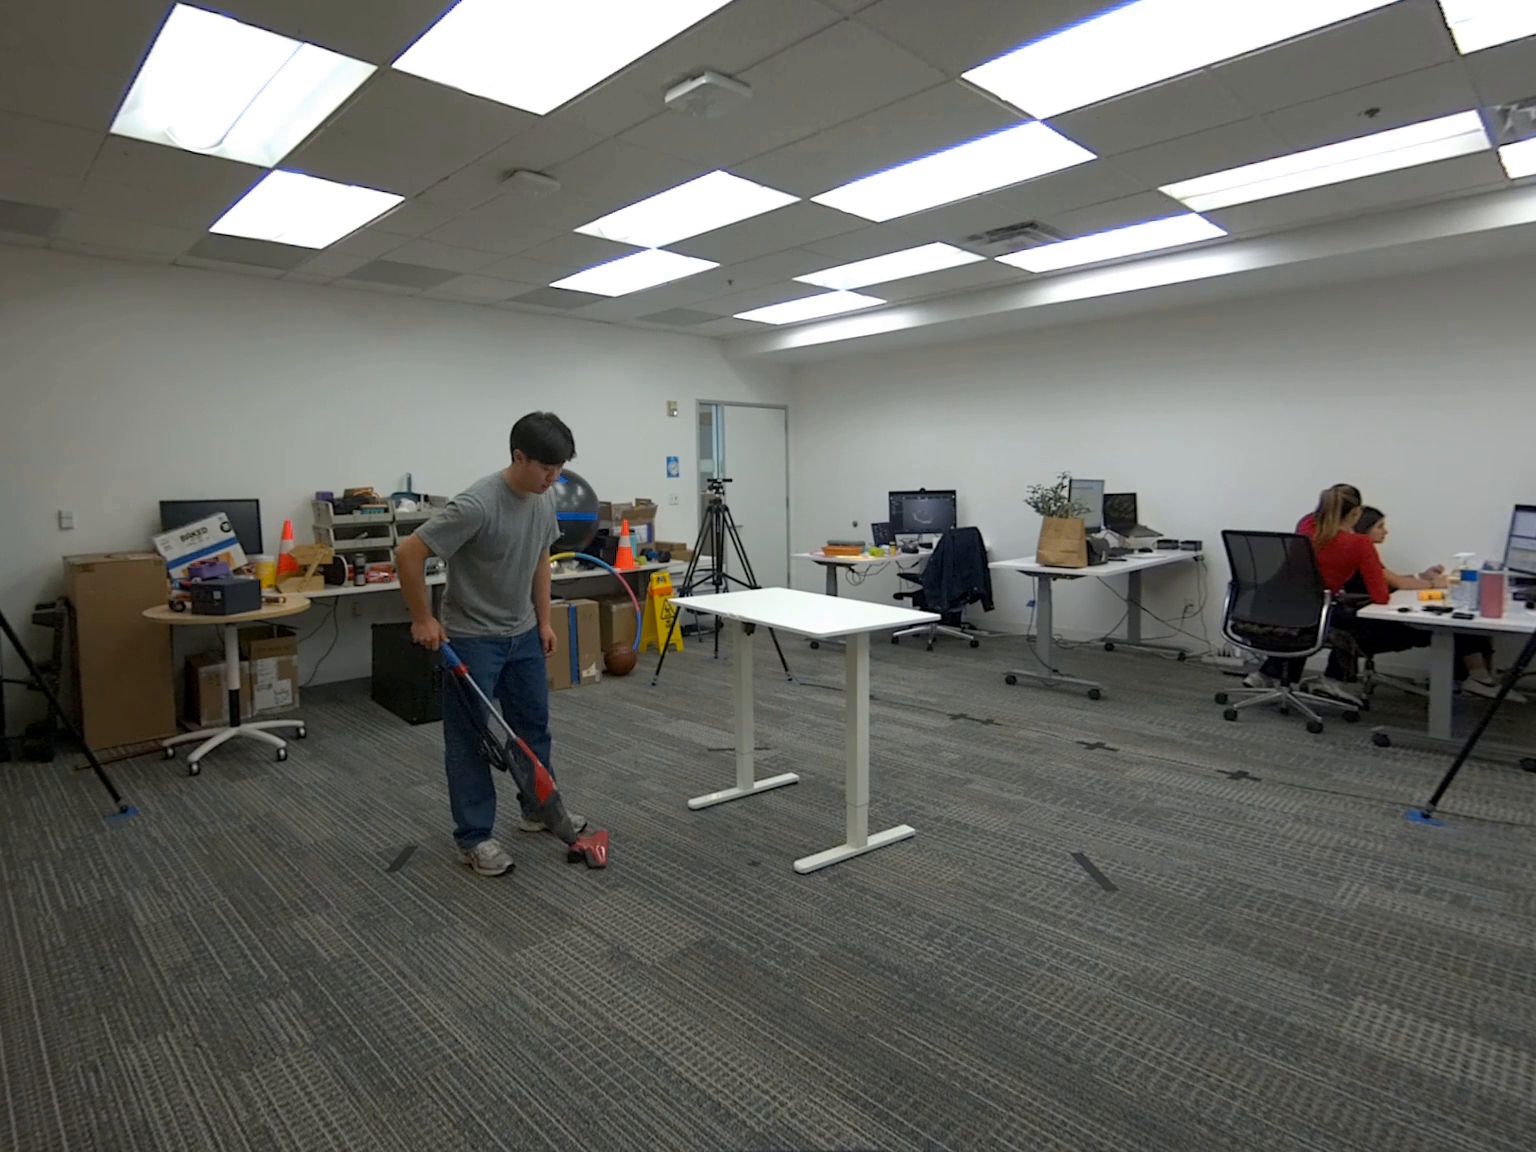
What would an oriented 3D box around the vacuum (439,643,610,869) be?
[{"bbox_3d":[-0.948,0.617,3.097,0.144,1.032,0.257,-35,13,-1],"label":"vacuum"}]
